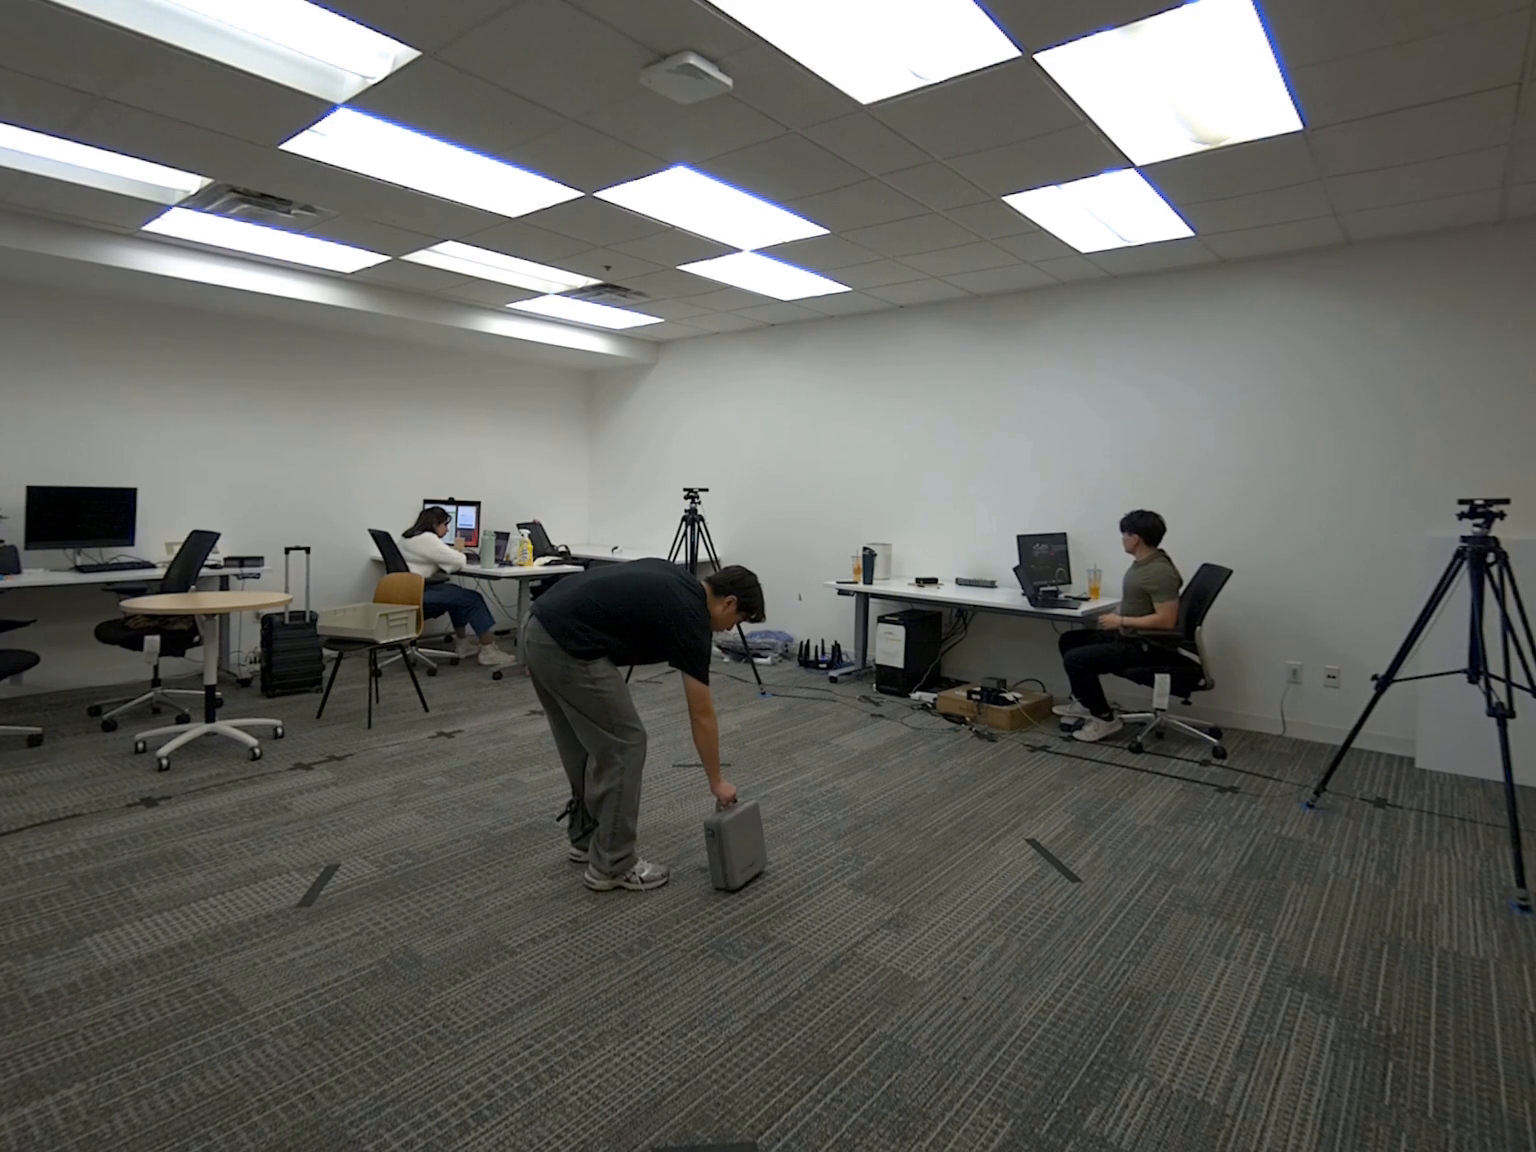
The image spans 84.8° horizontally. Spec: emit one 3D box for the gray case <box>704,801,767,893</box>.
[{"bbox_3d":[-0.126,0.931,3.034,0.105,0.288,0.256,-9,-3,29],"label":"gray case"}]
